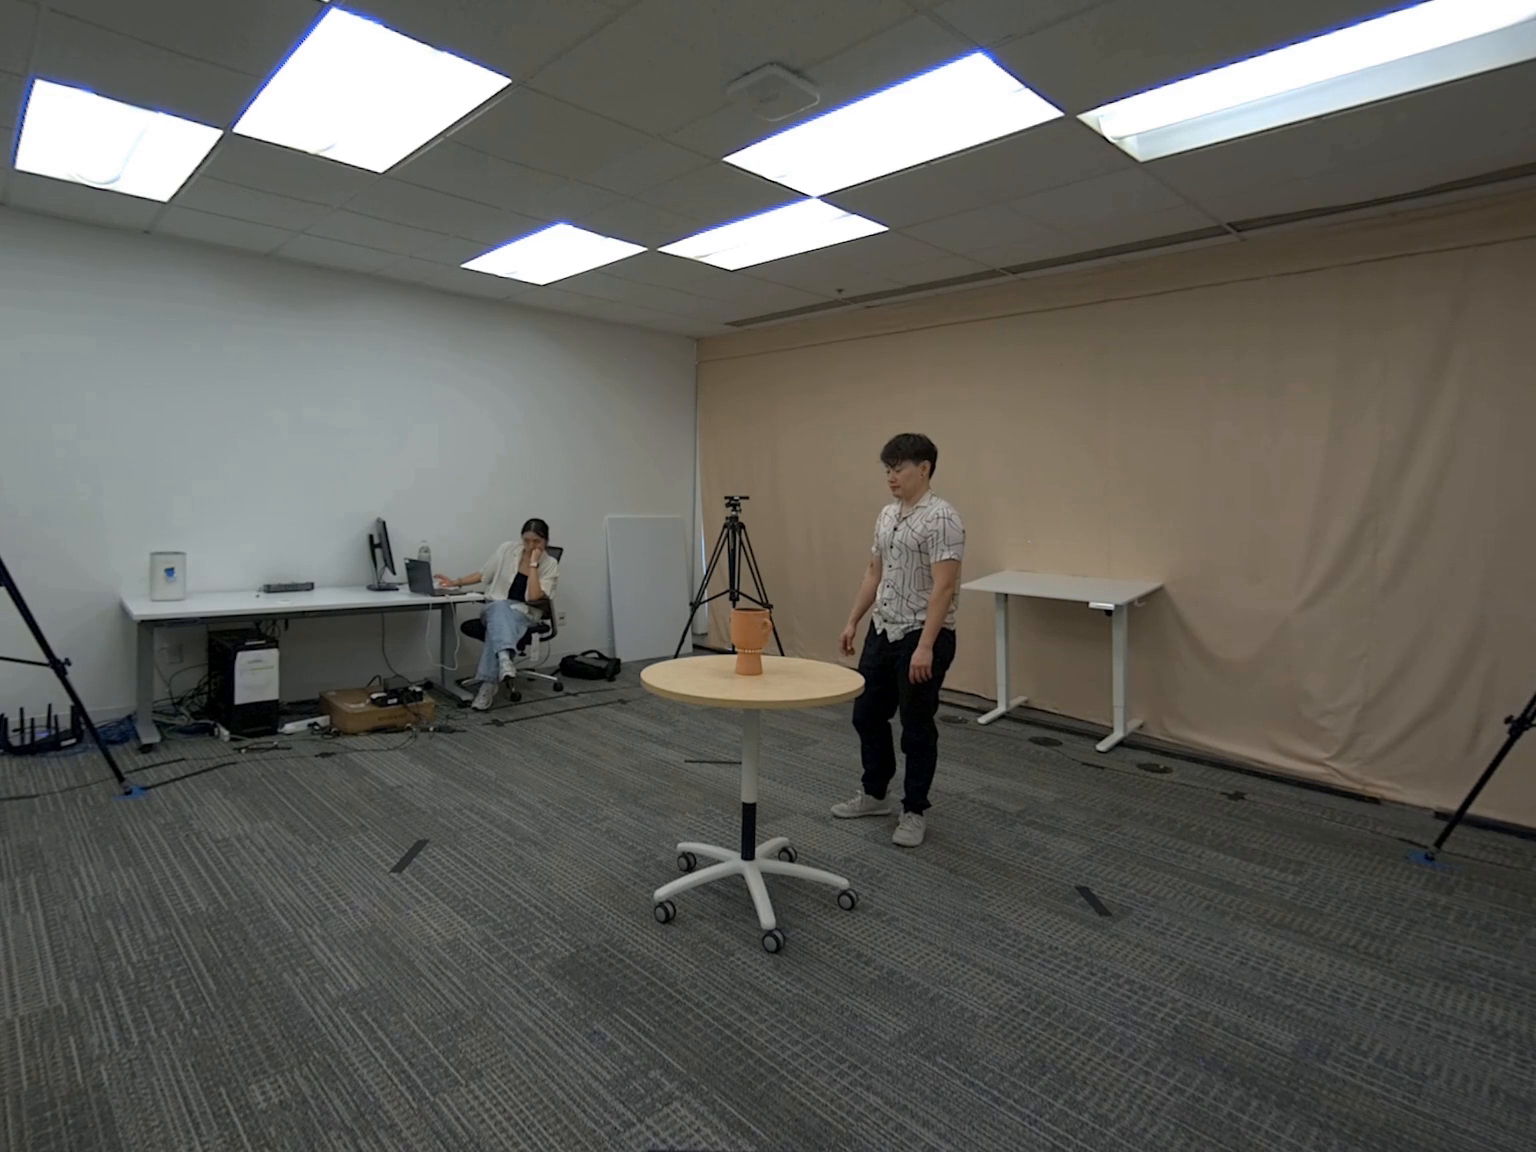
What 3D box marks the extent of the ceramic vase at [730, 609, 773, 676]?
[{"bbox_3d":[-0.070,0.230,2.922,0.134,0.219,0.160,2,4,-9],"label":"ceramic vase"}]
